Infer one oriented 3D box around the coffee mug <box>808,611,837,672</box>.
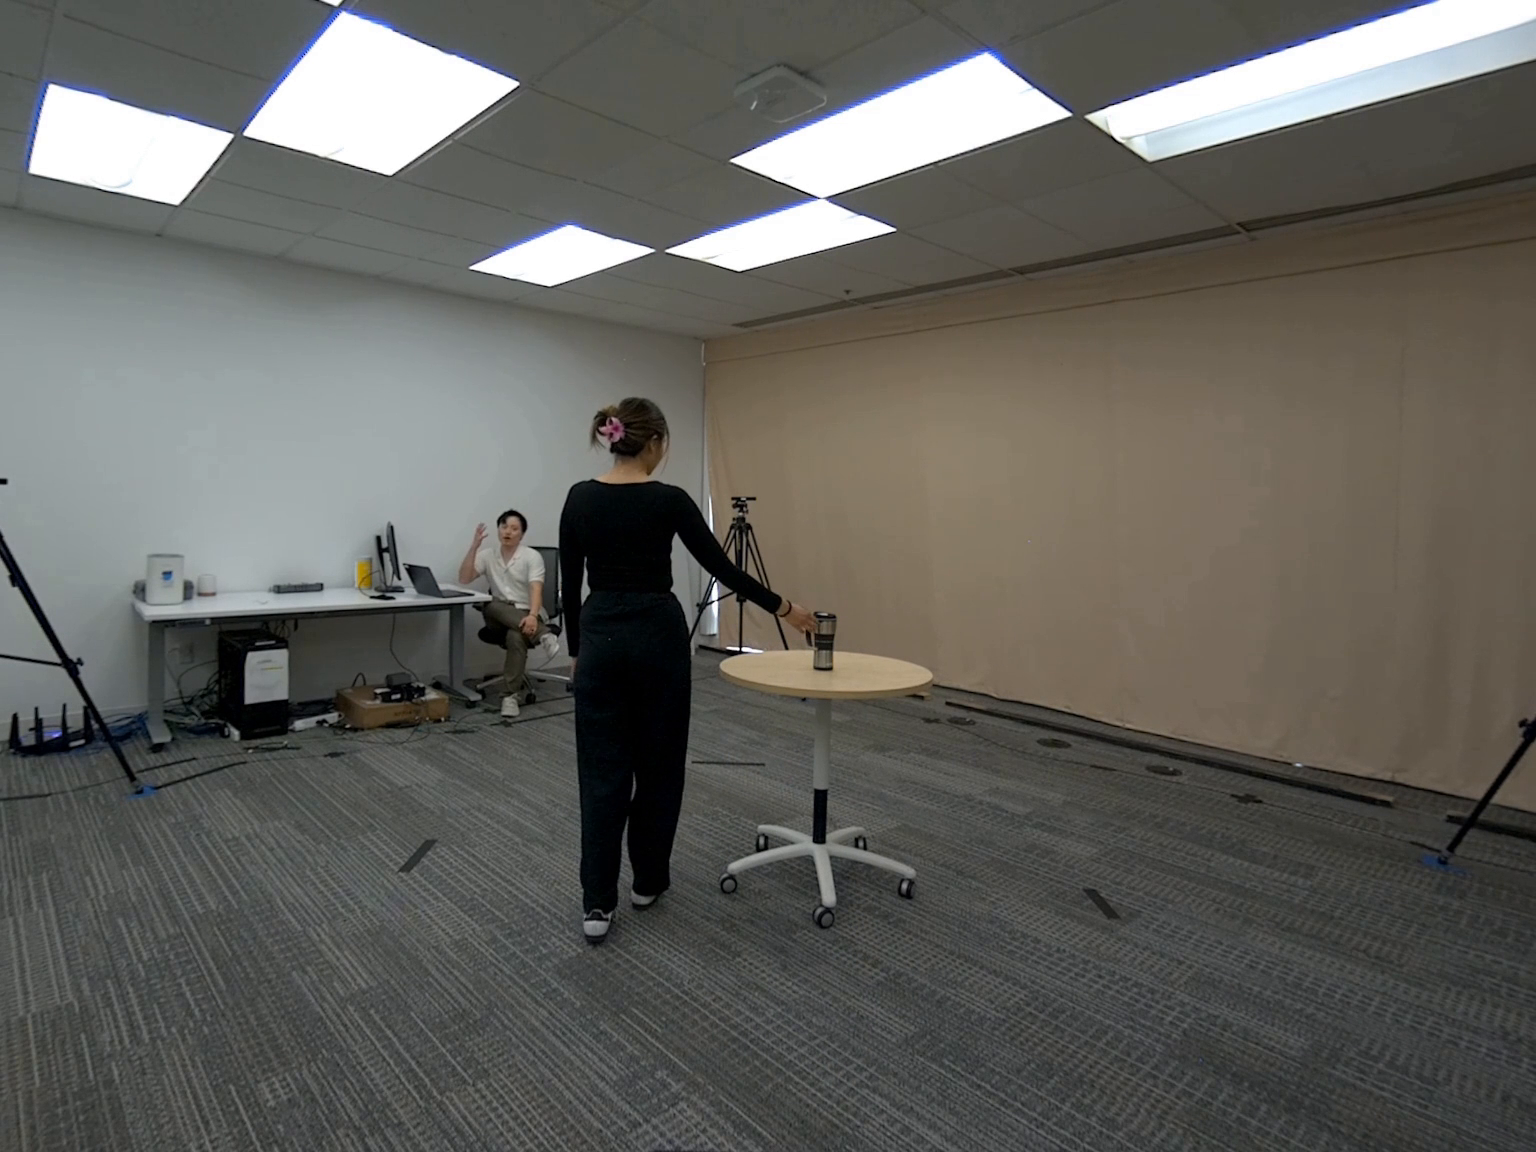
[{"bbox_3d":[0.184,0.238,3.047,0.125,0.202,0.086,9,10,39],"label":"coffee mug"}]
